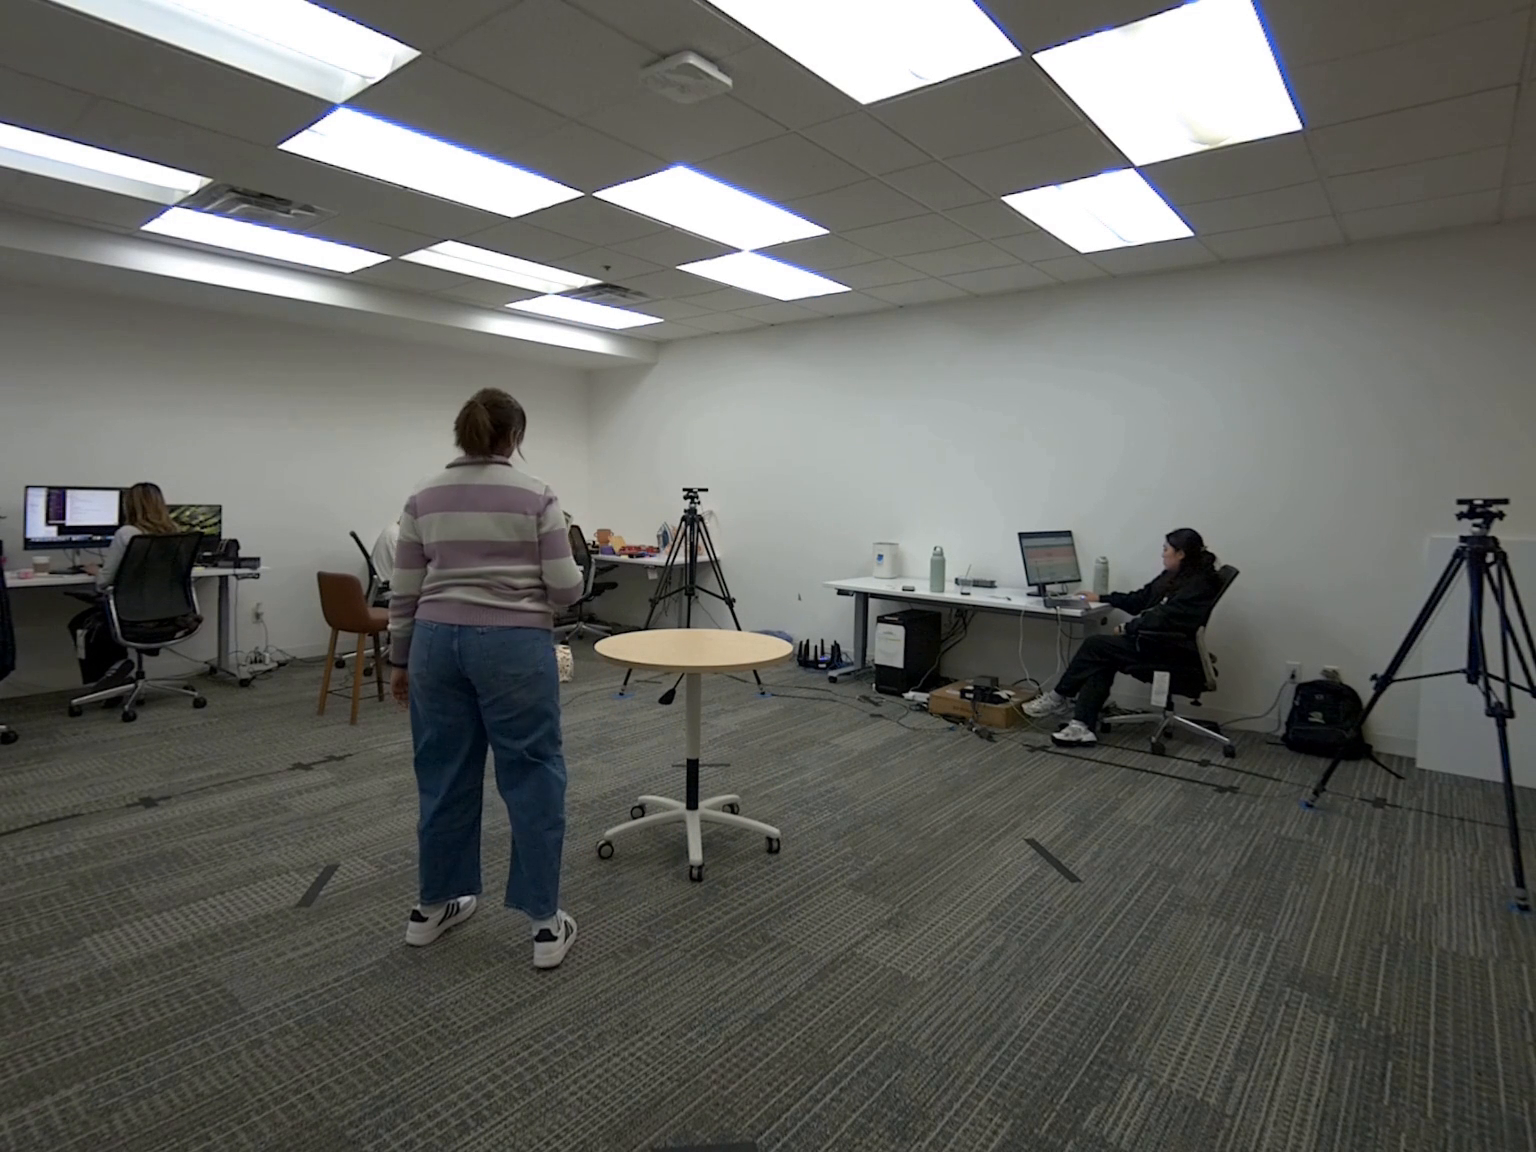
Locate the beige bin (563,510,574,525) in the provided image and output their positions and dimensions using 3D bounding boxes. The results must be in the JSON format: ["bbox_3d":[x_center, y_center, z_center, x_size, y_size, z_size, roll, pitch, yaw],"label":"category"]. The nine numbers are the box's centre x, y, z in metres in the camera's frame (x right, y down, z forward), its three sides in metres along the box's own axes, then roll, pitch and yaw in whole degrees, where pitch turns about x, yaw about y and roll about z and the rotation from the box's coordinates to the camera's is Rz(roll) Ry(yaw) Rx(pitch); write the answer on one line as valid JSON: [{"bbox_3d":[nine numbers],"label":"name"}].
[{"bbox_3d":[-0.928,-0.114,2.933,0.367,0.189,0.433,32,34,-21],"label":"beige bin"}]
